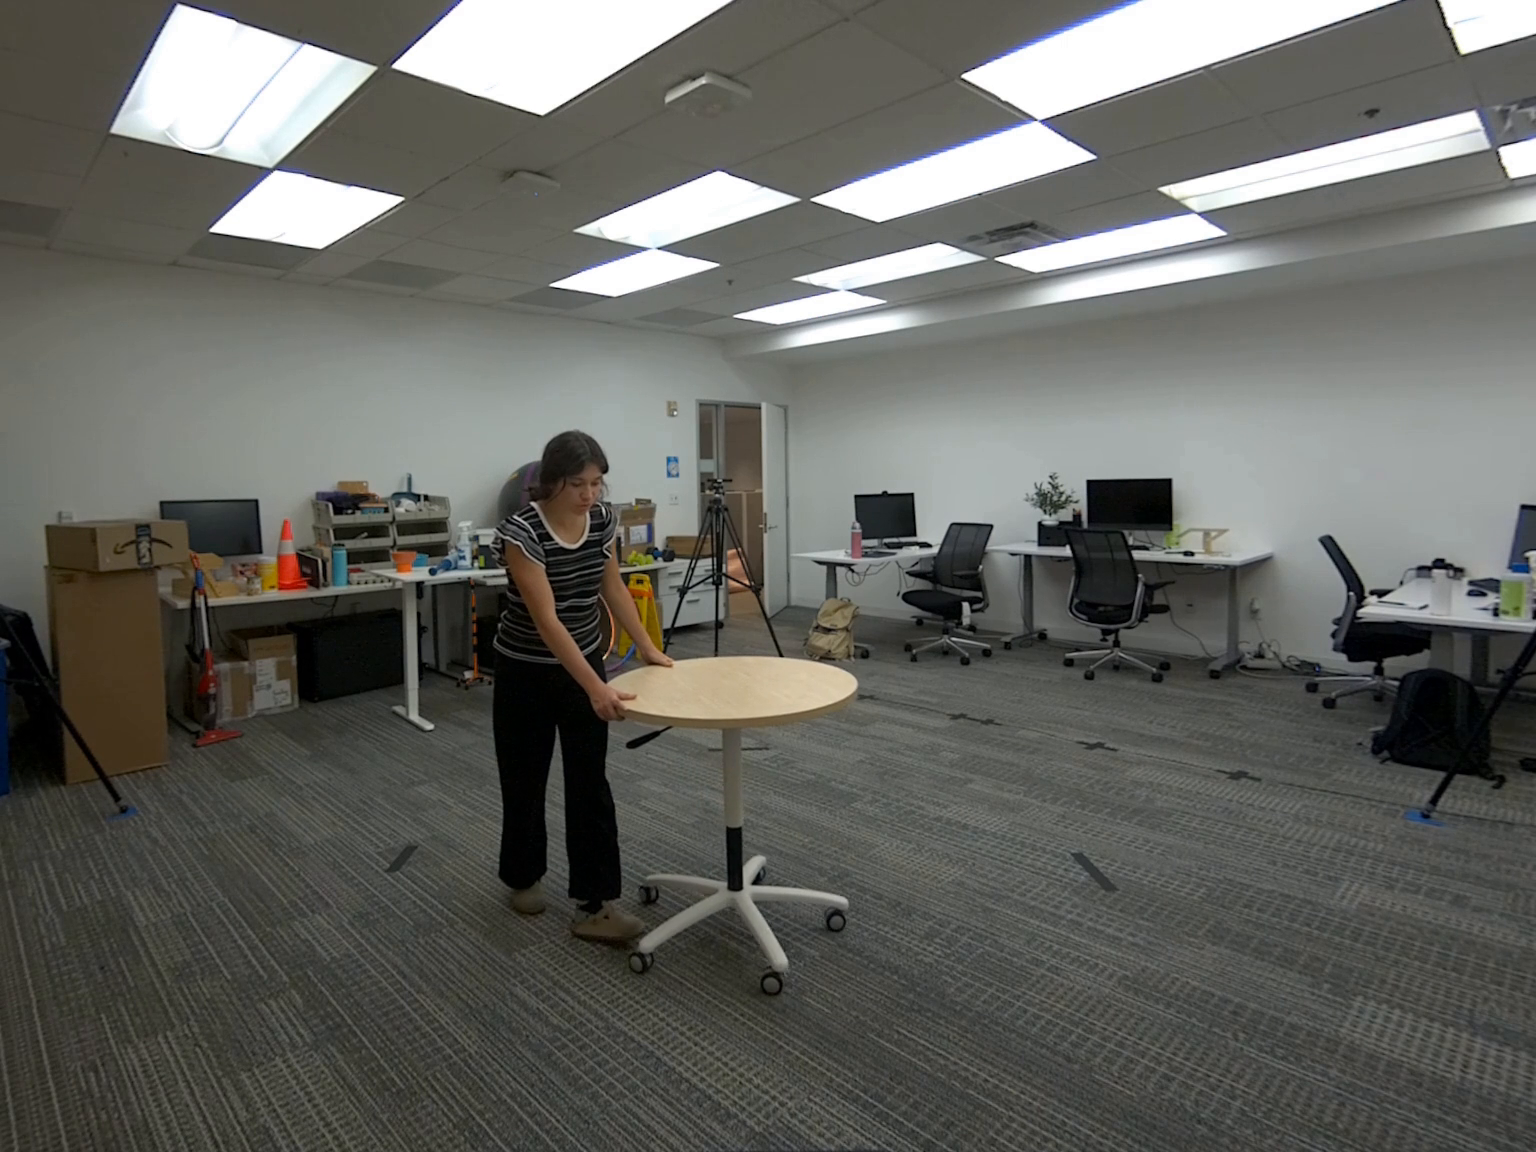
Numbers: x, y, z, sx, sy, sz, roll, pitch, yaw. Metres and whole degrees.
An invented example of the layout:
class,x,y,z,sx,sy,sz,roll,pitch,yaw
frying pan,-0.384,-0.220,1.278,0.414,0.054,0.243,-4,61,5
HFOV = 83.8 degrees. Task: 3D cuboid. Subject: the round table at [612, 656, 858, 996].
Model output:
class,x,y,z,sx,sy,sz,roll,pitch,yaw
round table,-0.100,0.713,2.620,0.763,0.791,0.768,-2,5,-2
